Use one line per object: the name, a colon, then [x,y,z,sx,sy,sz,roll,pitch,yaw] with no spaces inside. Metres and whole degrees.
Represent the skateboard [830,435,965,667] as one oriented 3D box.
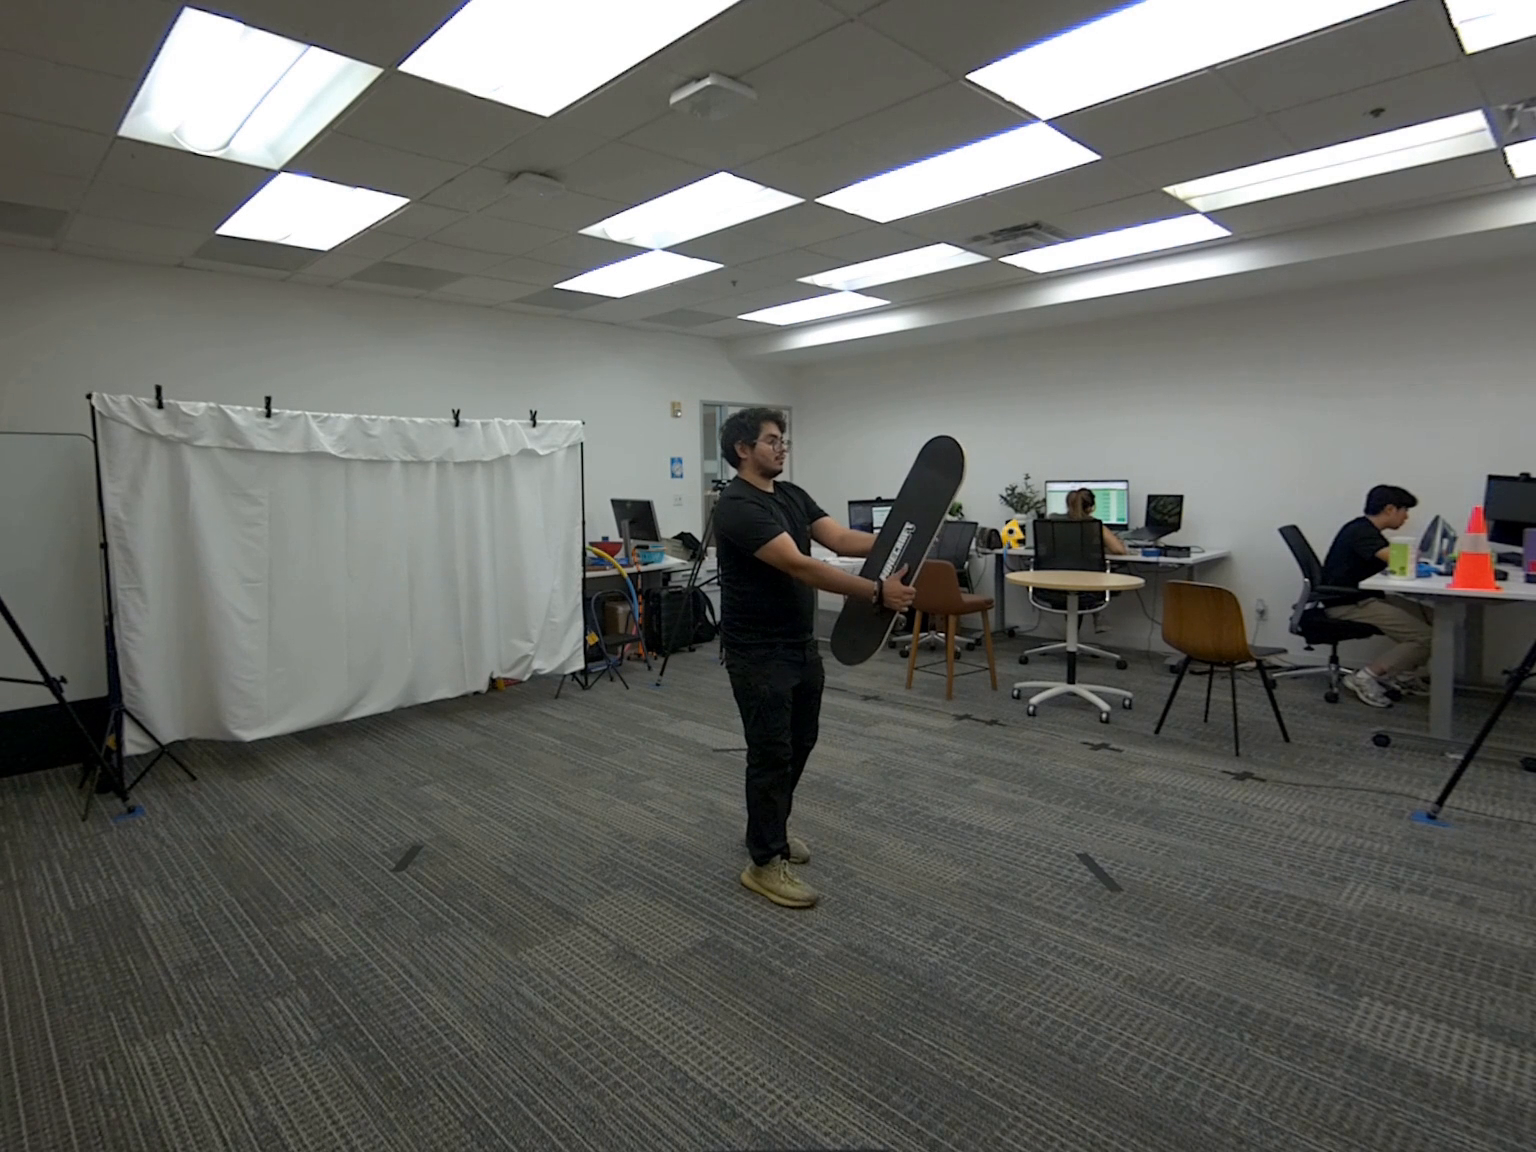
skateboard: [0.429,-0.065,2.715,0.106,0.783,0.201,18,9,-45]
